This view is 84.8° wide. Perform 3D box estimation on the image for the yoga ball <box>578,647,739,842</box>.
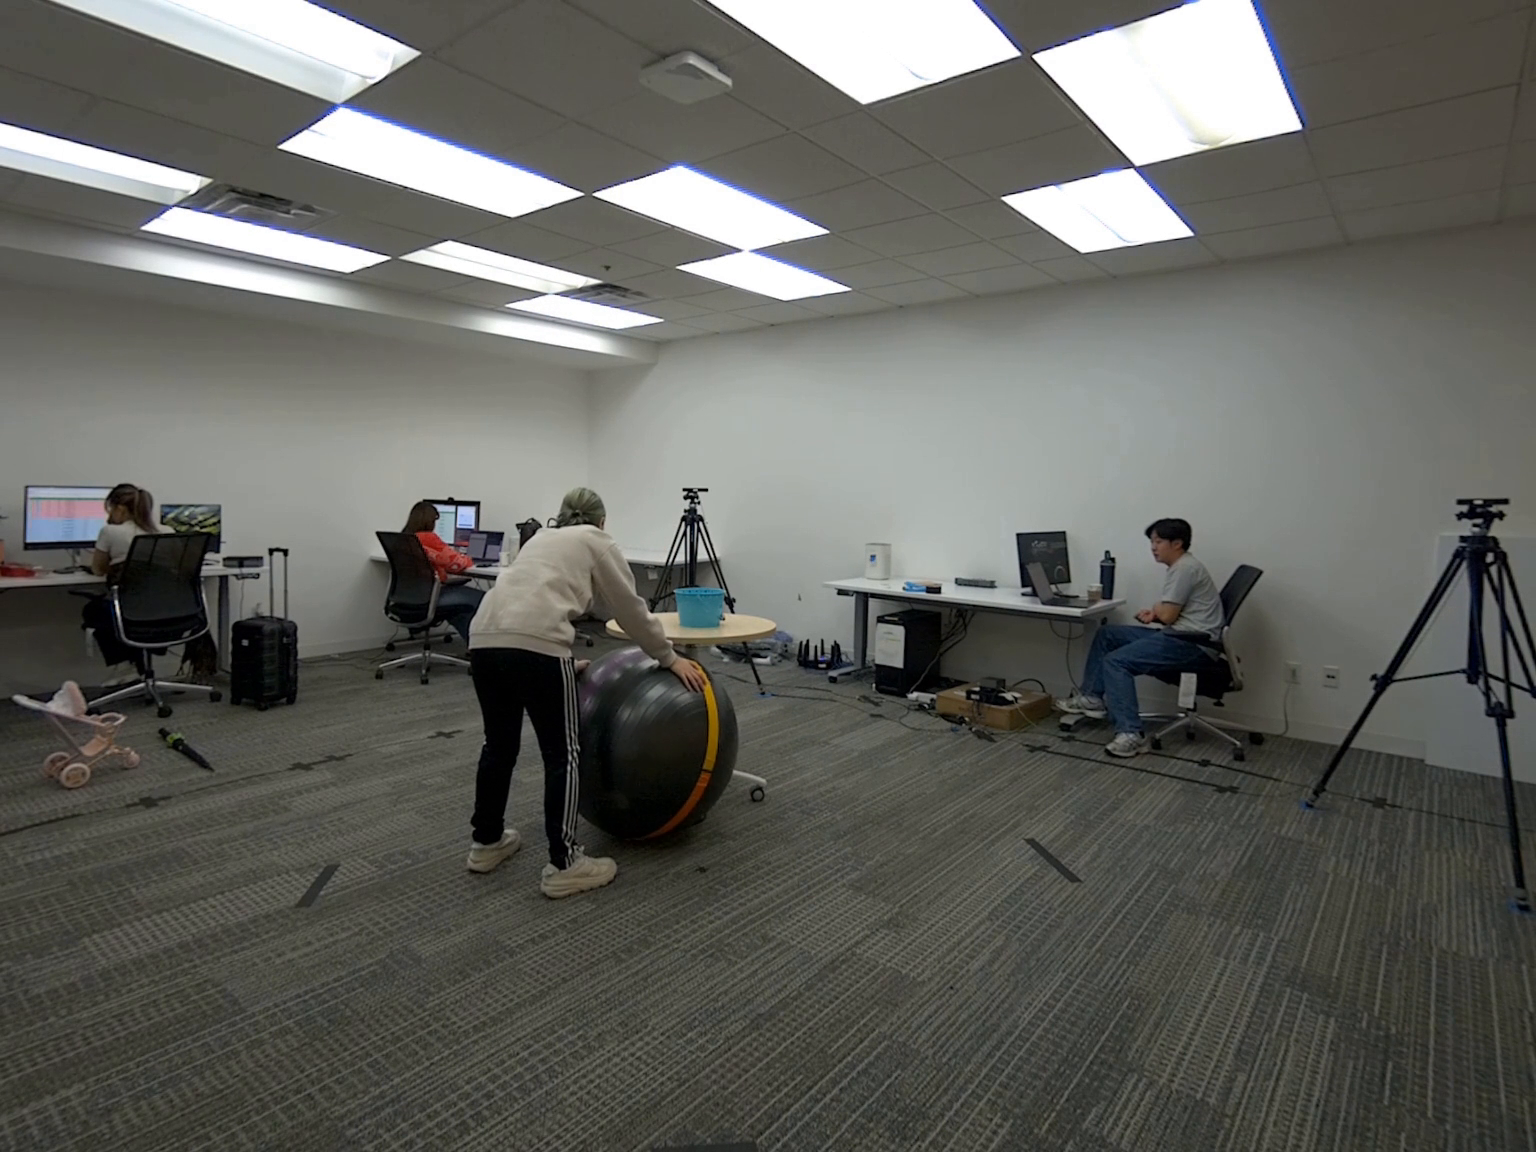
[{"bbox_3d":[-0.510,0.661,3.428,0.757,0.756,0.761,1,4,-2],"label":"yoga ball"}]
